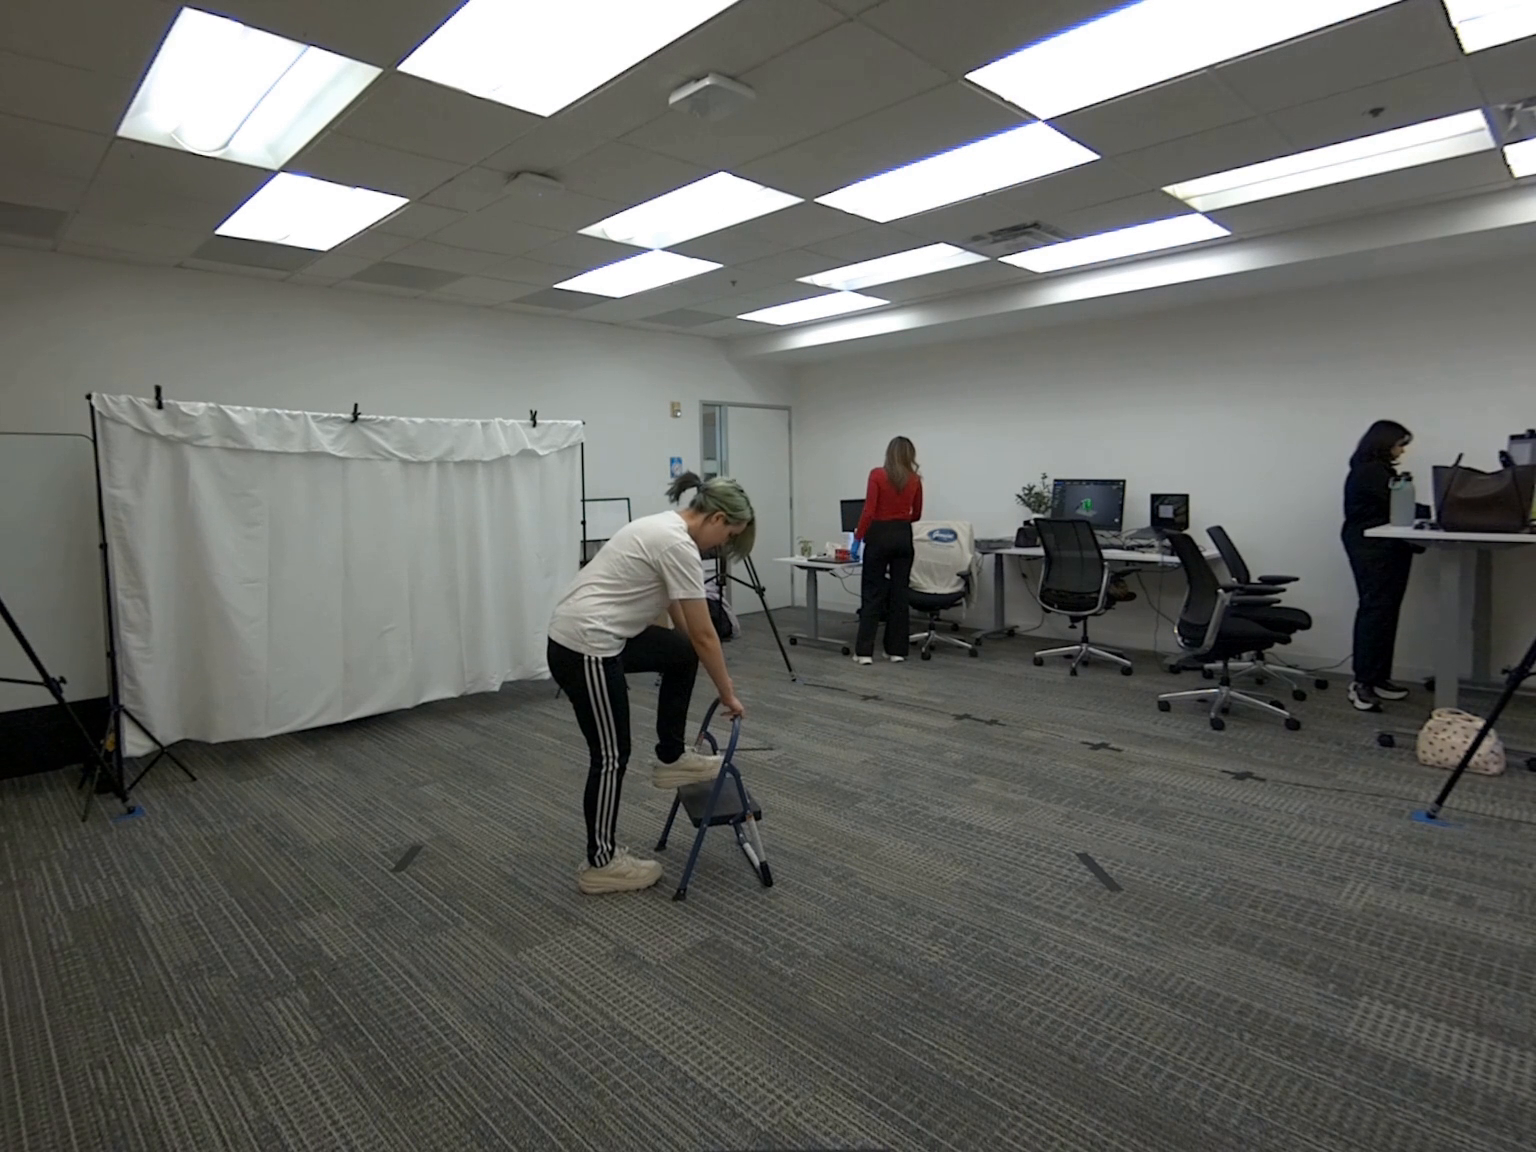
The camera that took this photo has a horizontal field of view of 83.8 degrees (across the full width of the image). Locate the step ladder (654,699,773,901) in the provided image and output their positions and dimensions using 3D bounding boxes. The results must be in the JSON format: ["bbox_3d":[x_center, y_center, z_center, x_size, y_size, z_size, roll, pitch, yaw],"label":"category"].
[{"bbox_3d":[-0.207,0.752,3.072,0.344,0.604,0.438,-2,5,-15],"label":"step ladder"}]
